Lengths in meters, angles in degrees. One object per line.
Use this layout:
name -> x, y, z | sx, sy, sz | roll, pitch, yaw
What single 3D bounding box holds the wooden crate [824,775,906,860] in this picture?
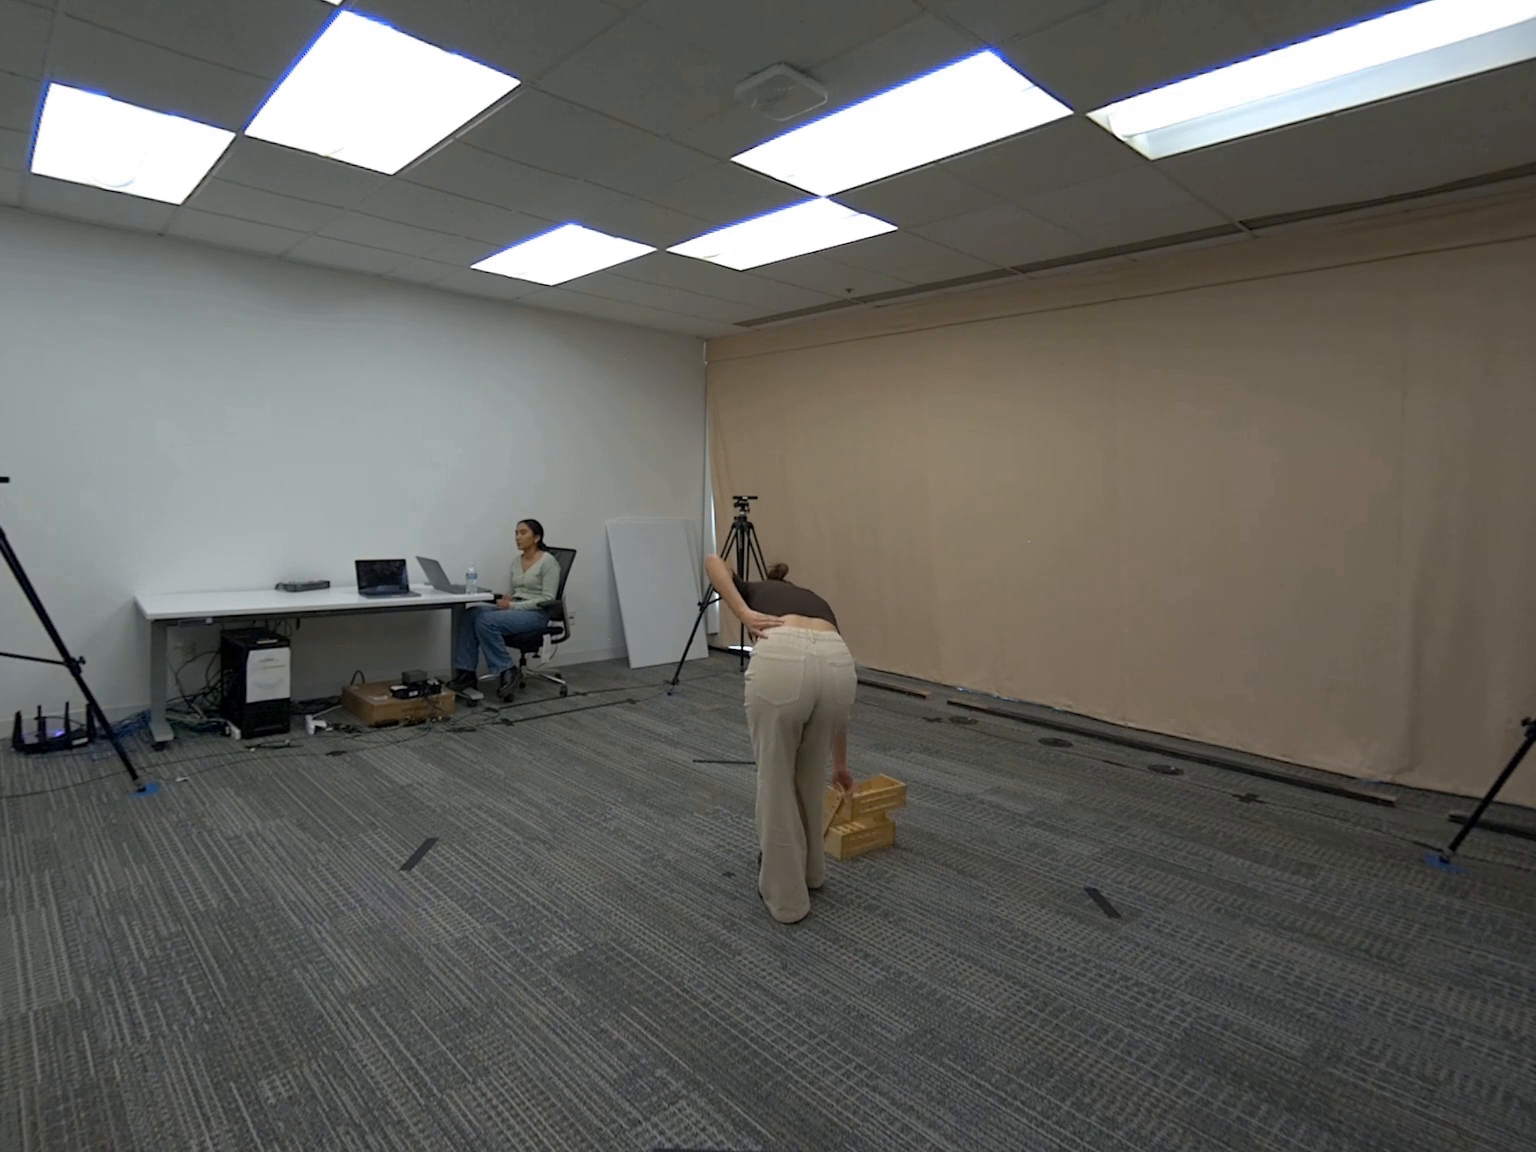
wooden crate -> 0.333, 0.951, 3.418 | 0.317, 0.272, 0.310 | -2, 6, -38
